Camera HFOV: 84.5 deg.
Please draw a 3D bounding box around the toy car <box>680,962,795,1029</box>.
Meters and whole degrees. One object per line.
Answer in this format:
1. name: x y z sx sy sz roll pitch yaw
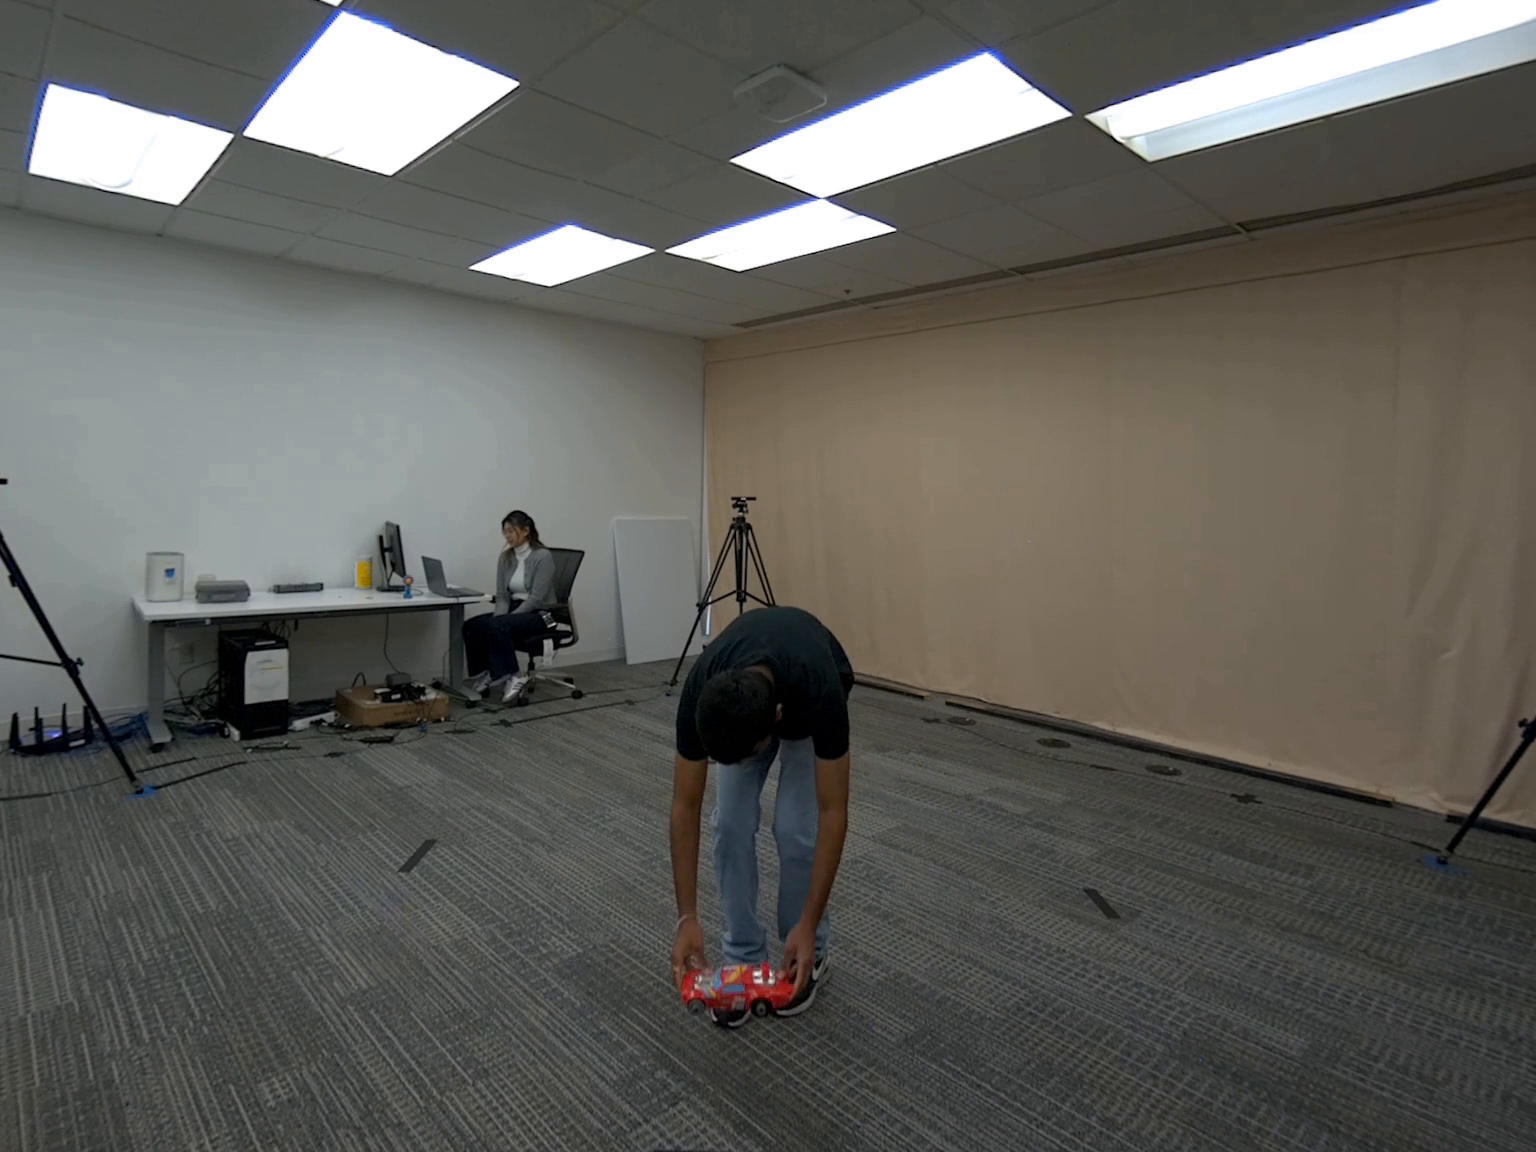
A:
1. toy car: -0.074 0.931 1.934 0.254 0.083 0.131 -9 8 0
